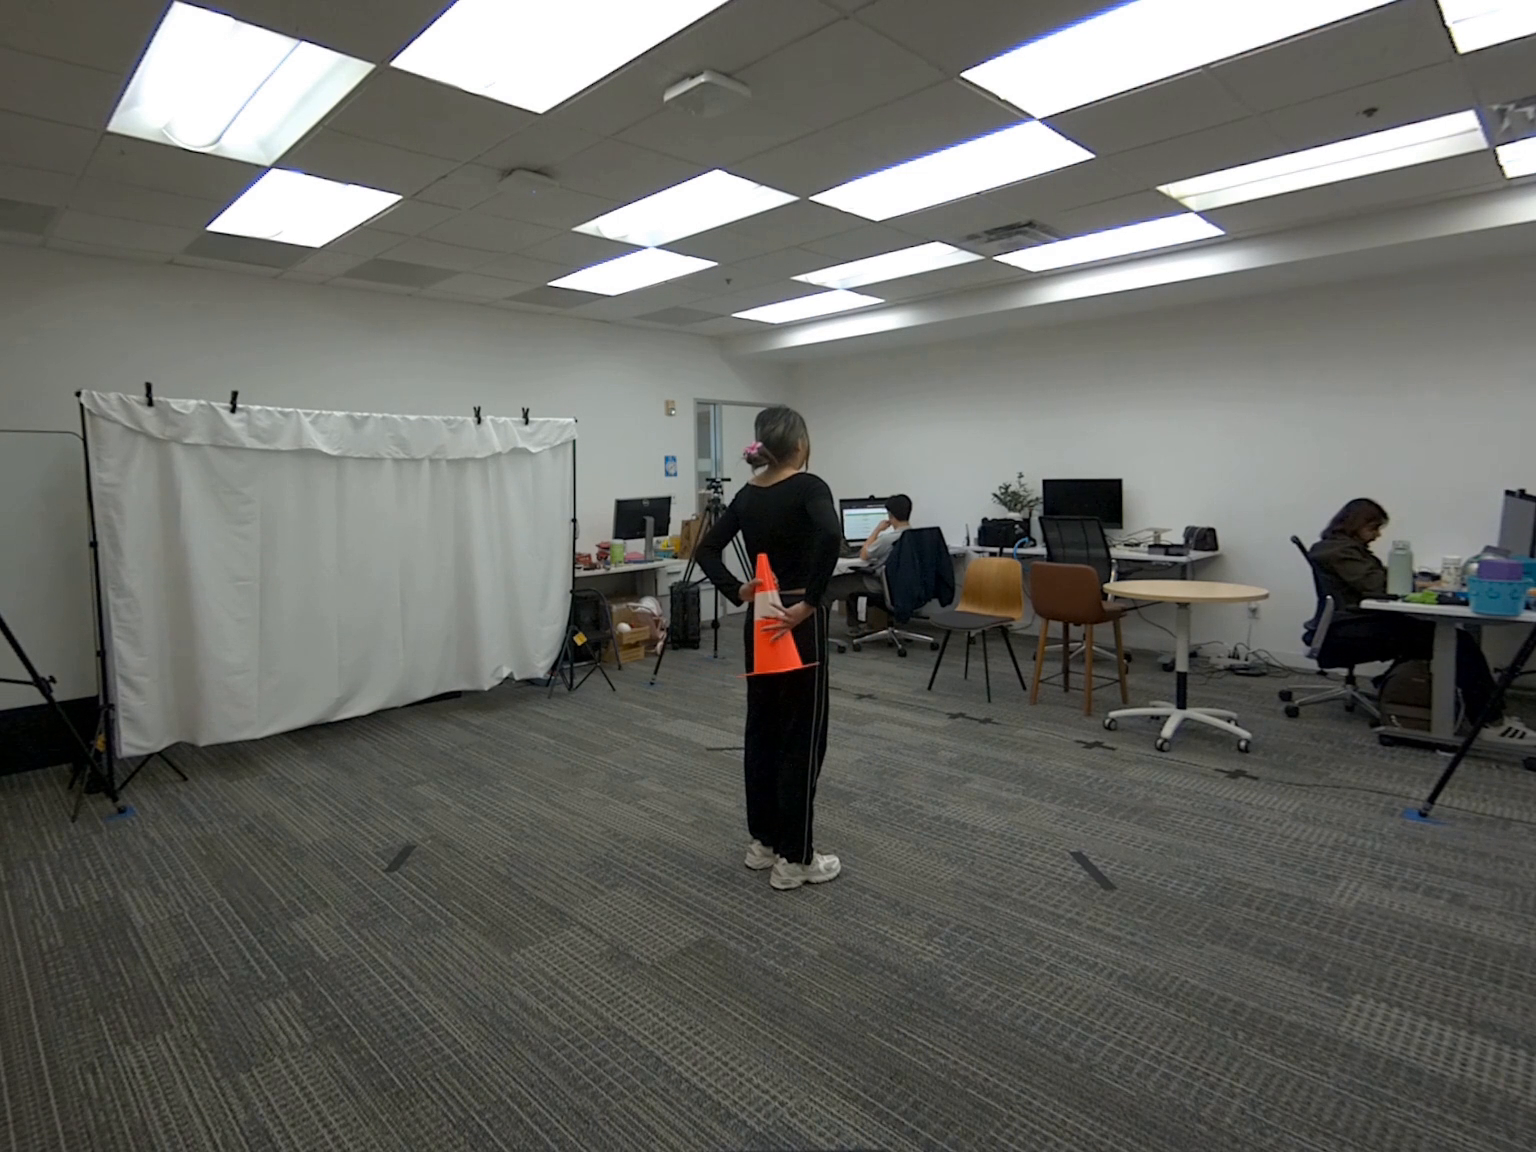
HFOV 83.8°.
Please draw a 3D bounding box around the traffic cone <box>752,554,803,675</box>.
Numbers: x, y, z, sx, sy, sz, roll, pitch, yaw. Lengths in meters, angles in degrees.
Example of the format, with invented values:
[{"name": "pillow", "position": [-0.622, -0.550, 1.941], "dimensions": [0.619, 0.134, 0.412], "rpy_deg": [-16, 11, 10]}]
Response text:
[{"name": "traffic cone", "position": [0.010, 0.122, 2.787], "dimensions": [0.210, 0.386, 0.197], "rpy_deg": [-11, -6, 40]}]
